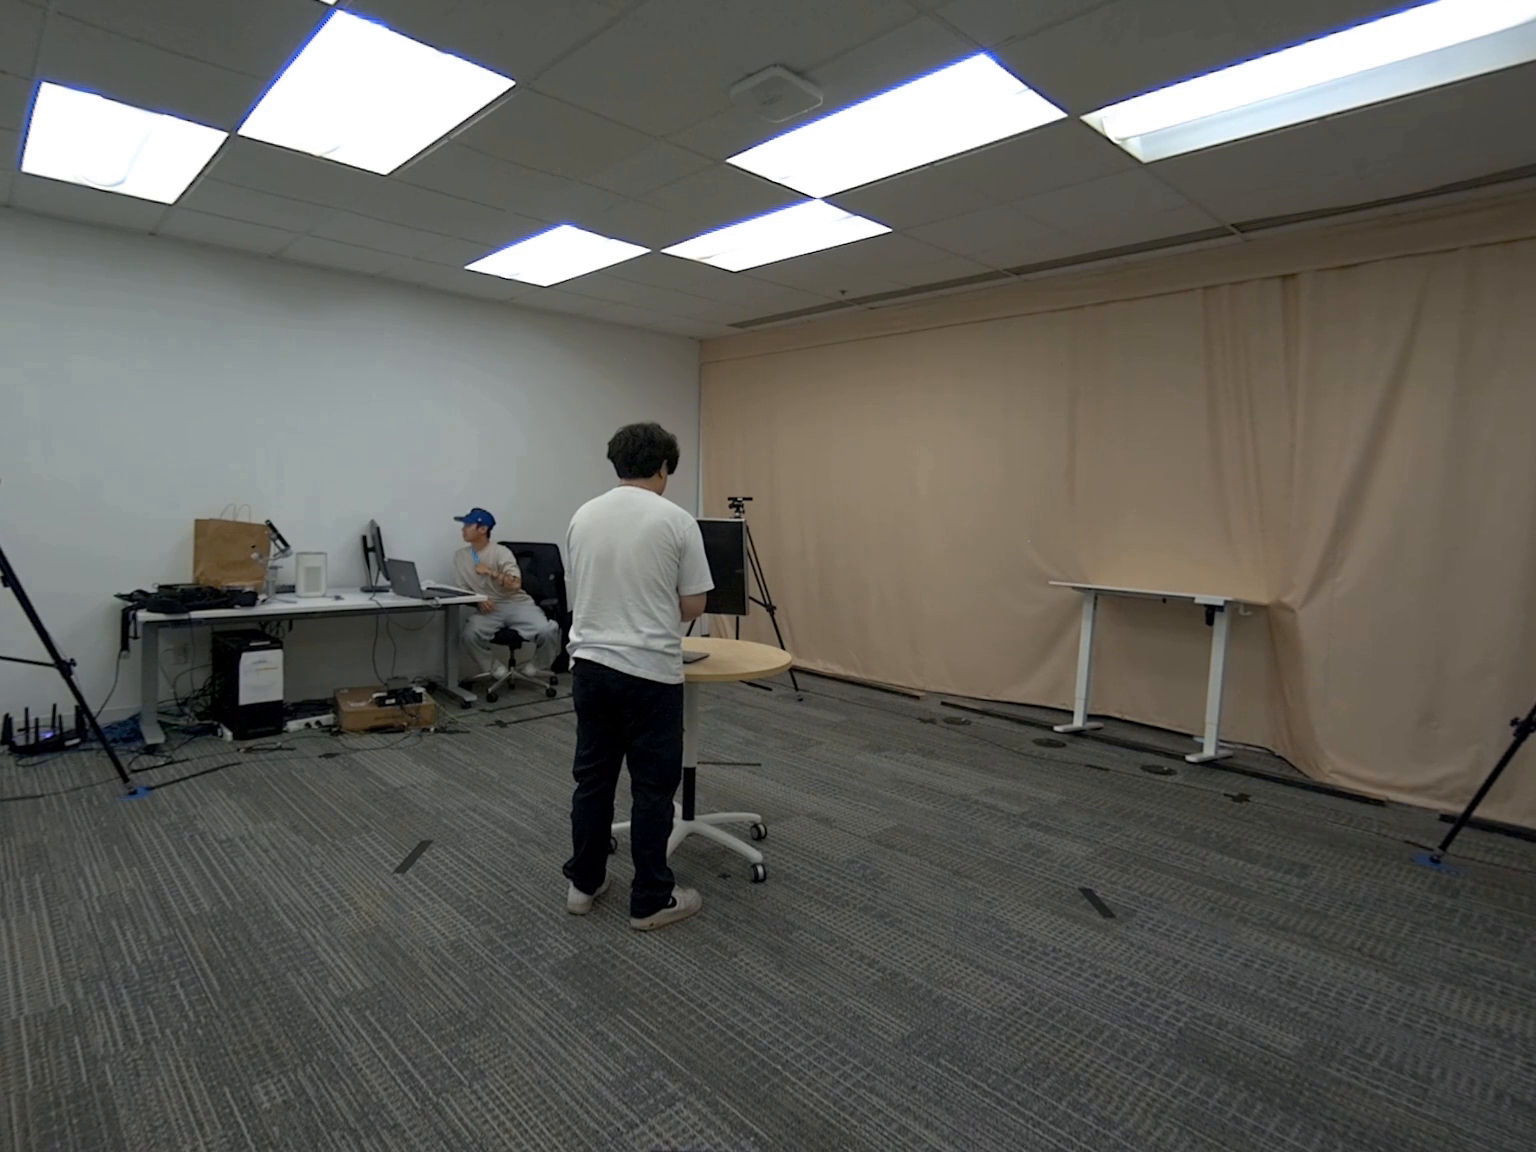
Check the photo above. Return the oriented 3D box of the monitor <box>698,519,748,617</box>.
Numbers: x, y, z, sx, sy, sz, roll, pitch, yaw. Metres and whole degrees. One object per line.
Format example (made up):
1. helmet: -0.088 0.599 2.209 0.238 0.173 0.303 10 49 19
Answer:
1. monitor: -0.369 0.054 3.129 0.575 0.551 0.207 3 8 22
